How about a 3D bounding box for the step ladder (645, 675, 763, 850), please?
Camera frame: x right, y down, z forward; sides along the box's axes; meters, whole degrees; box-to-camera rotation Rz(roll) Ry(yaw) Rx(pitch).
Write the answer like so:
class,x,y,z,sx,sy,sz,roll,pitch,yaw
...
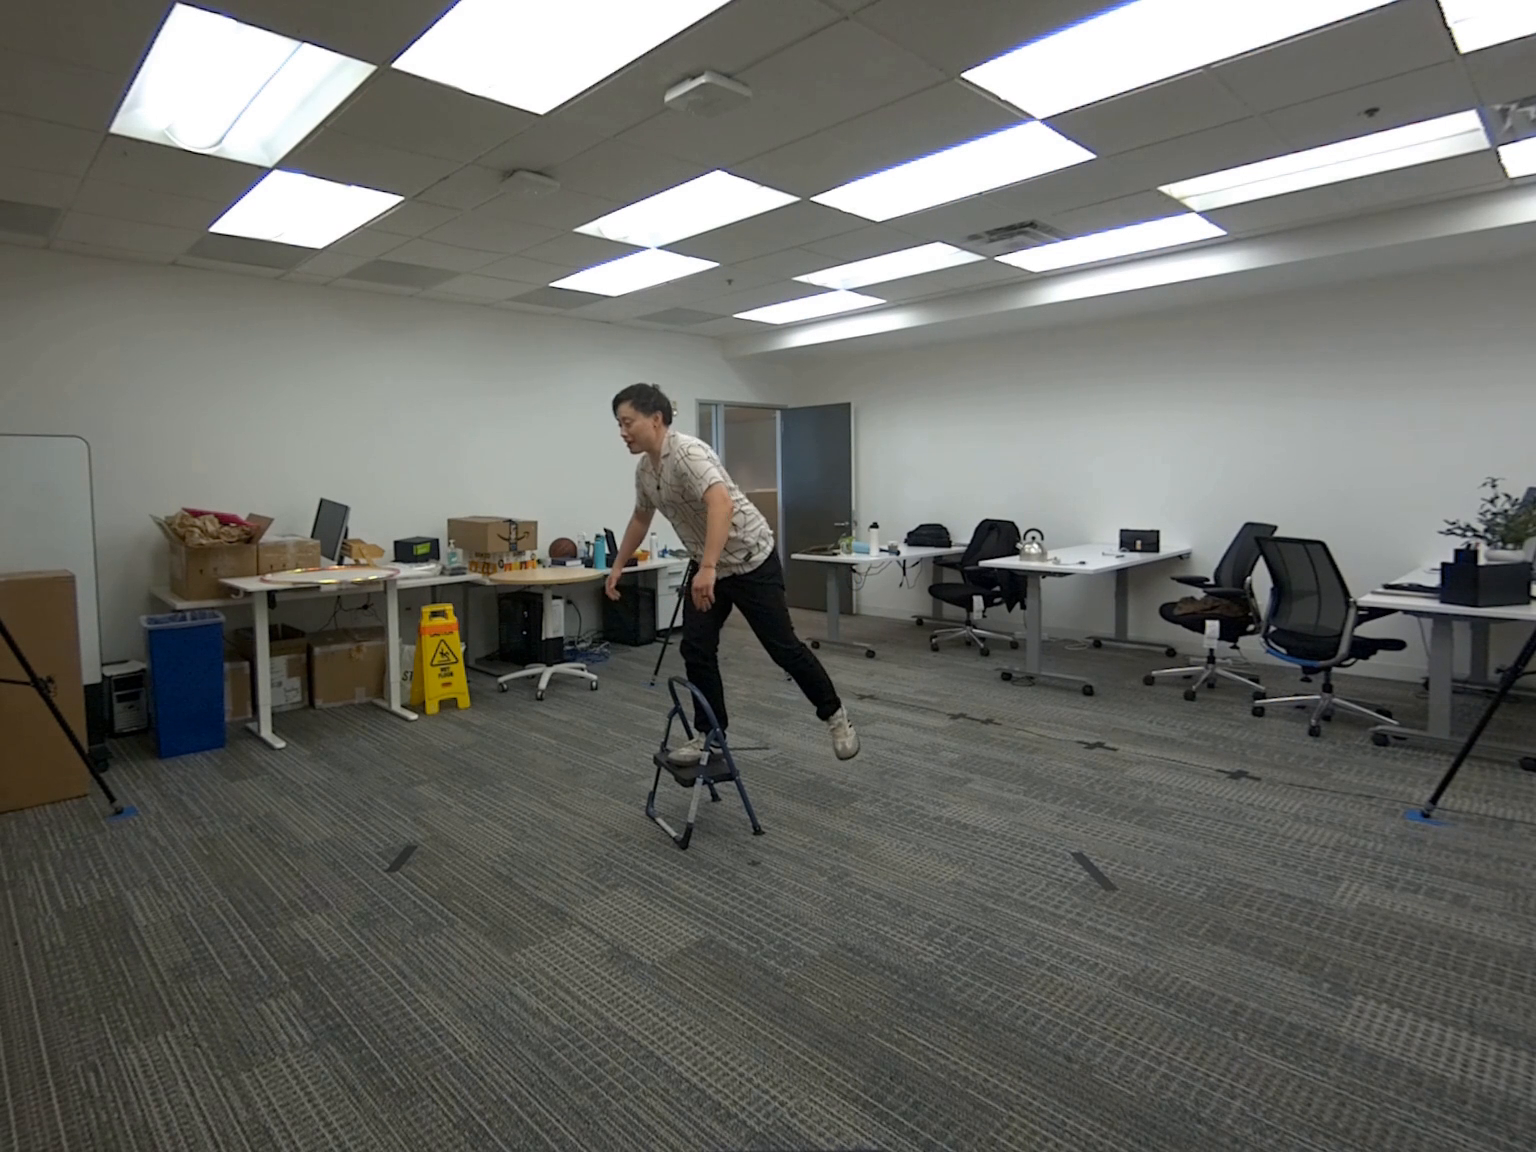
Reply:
class,x,y,z,sx,sy,sz,roll,pitch,yaw
step ladder,-0.271,0.705,3.461,0.341,0.604,0.442,-3,5,-28
